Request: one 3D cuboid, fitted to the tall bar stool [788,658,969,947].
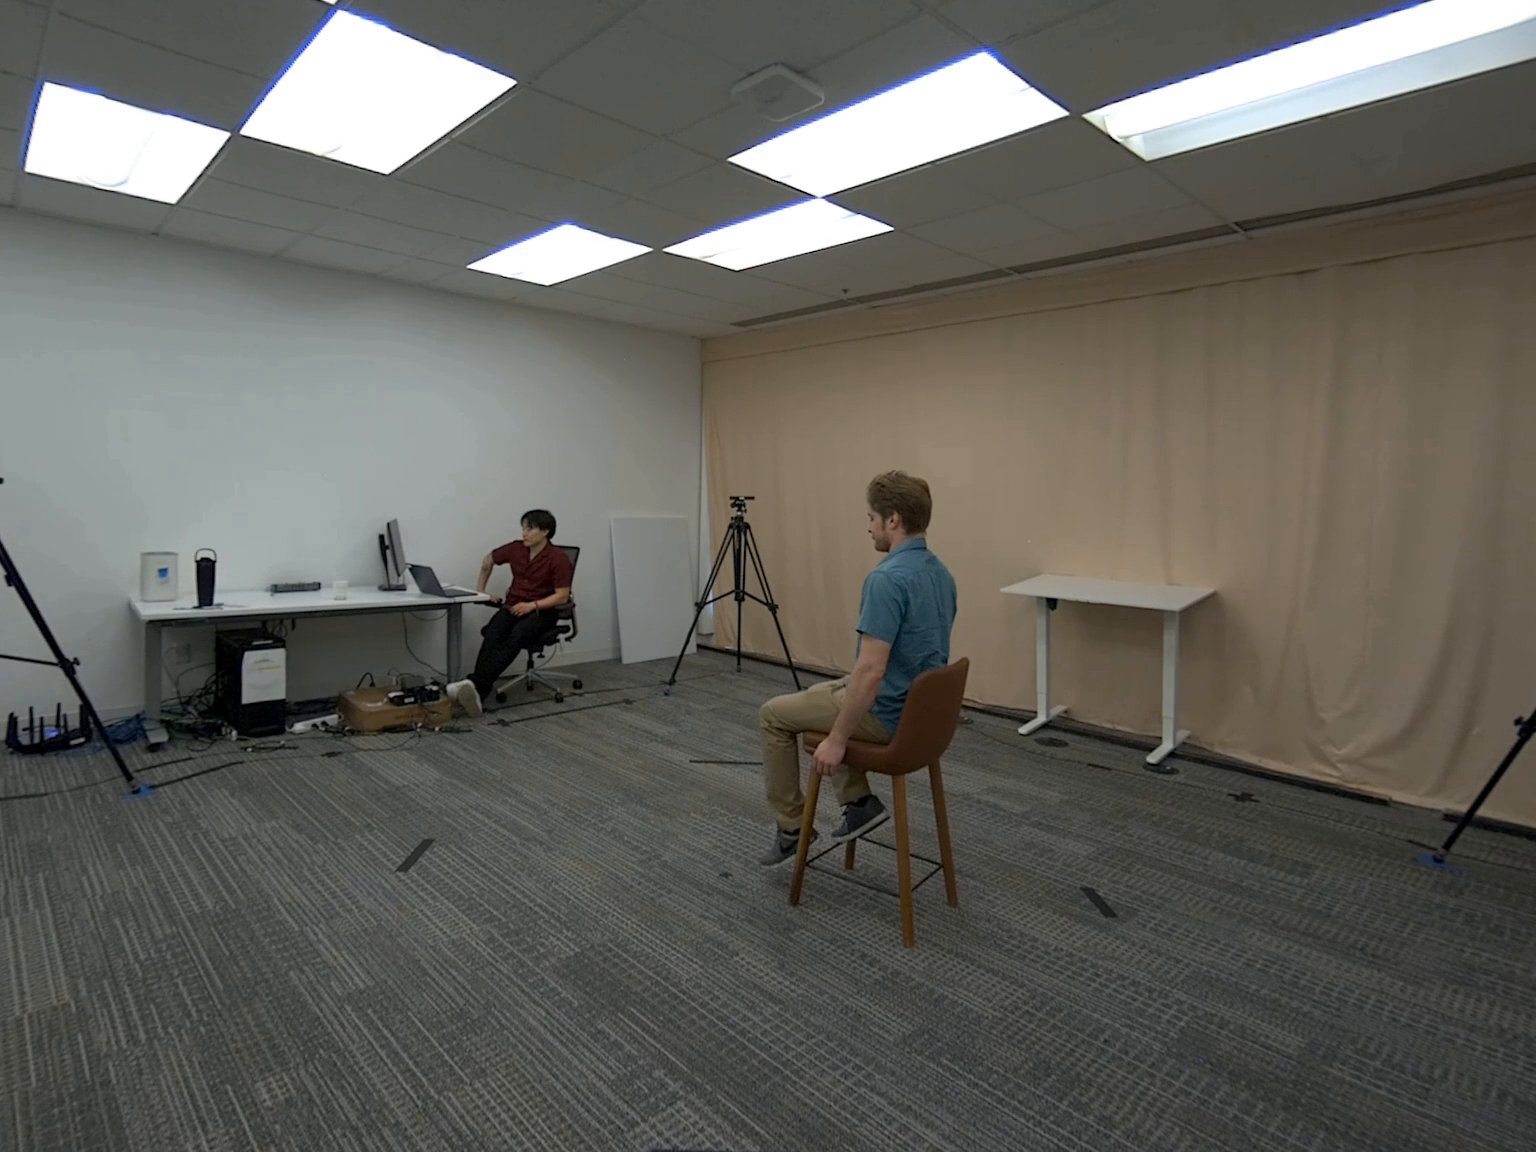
[{"bbox_3d":[0.380,0.705,2.873,0.479,0.886,0.447,7,7,37],"label":"tall bar stool"}]
